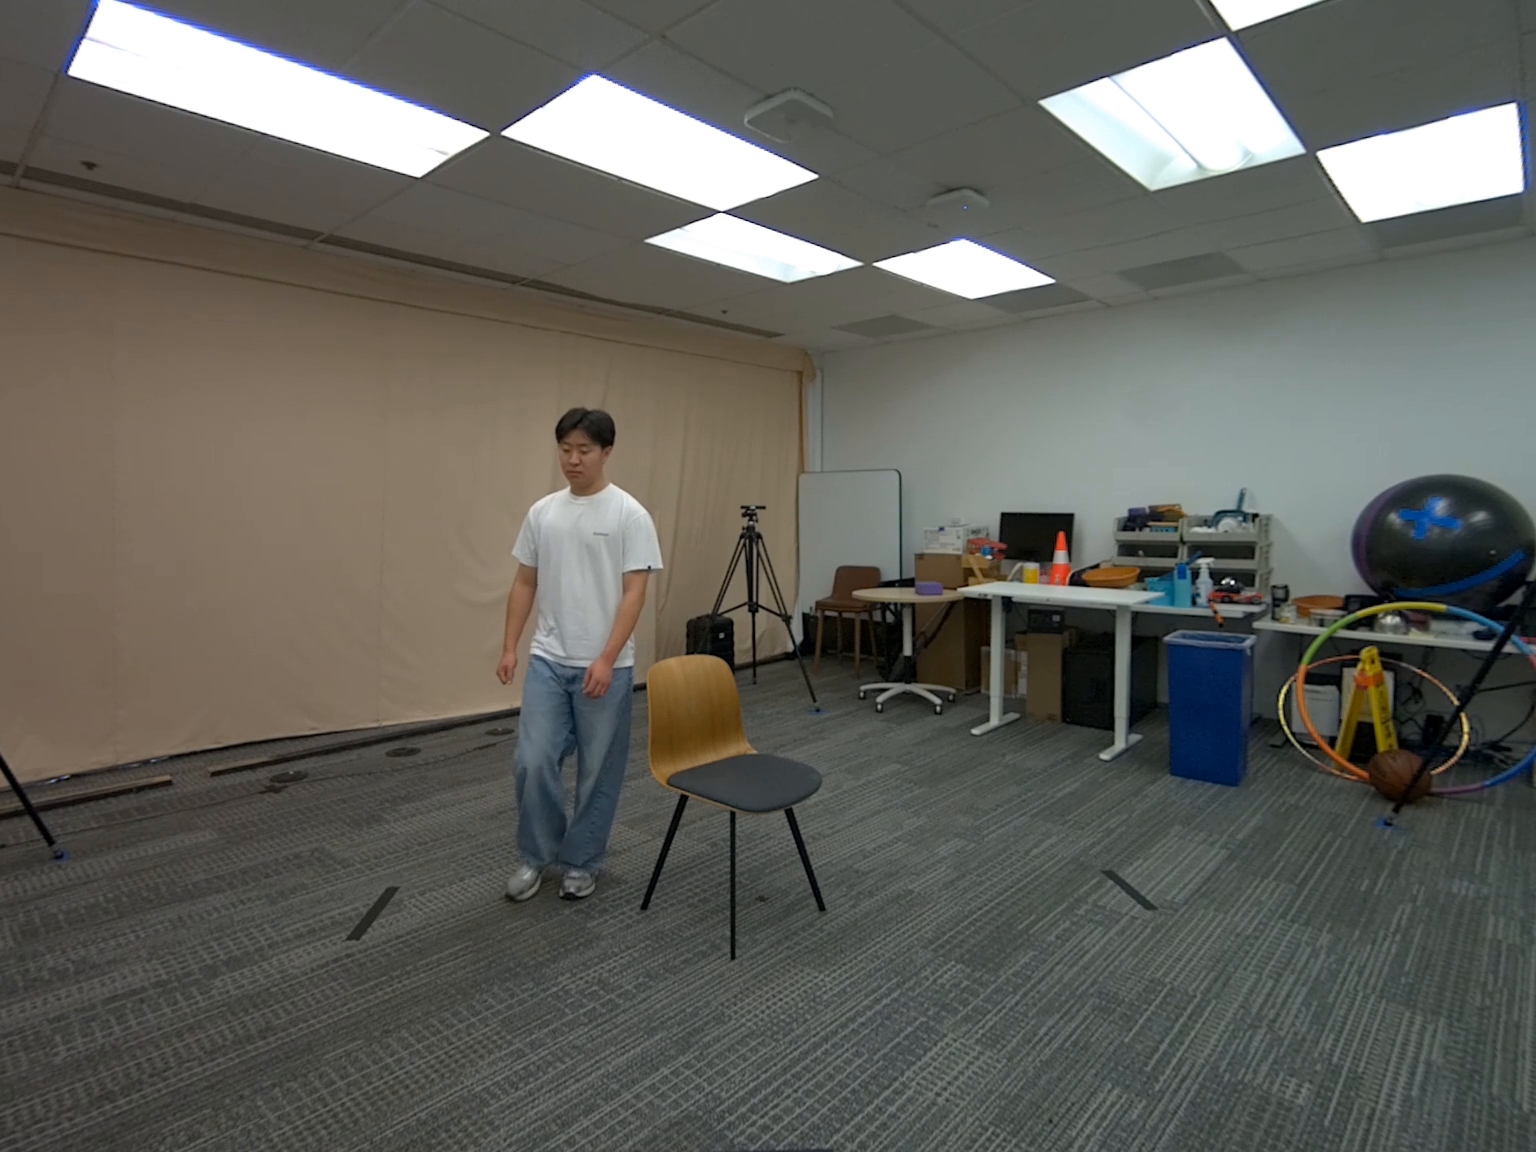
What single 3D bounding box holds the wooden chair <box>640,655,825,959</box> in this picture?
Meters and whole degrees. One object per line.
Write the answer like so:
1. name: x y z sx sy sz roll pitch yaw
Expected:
1. wooden chair: -0.113 0.730 2.858 0.539 0.877 0.463 -3 0 45
